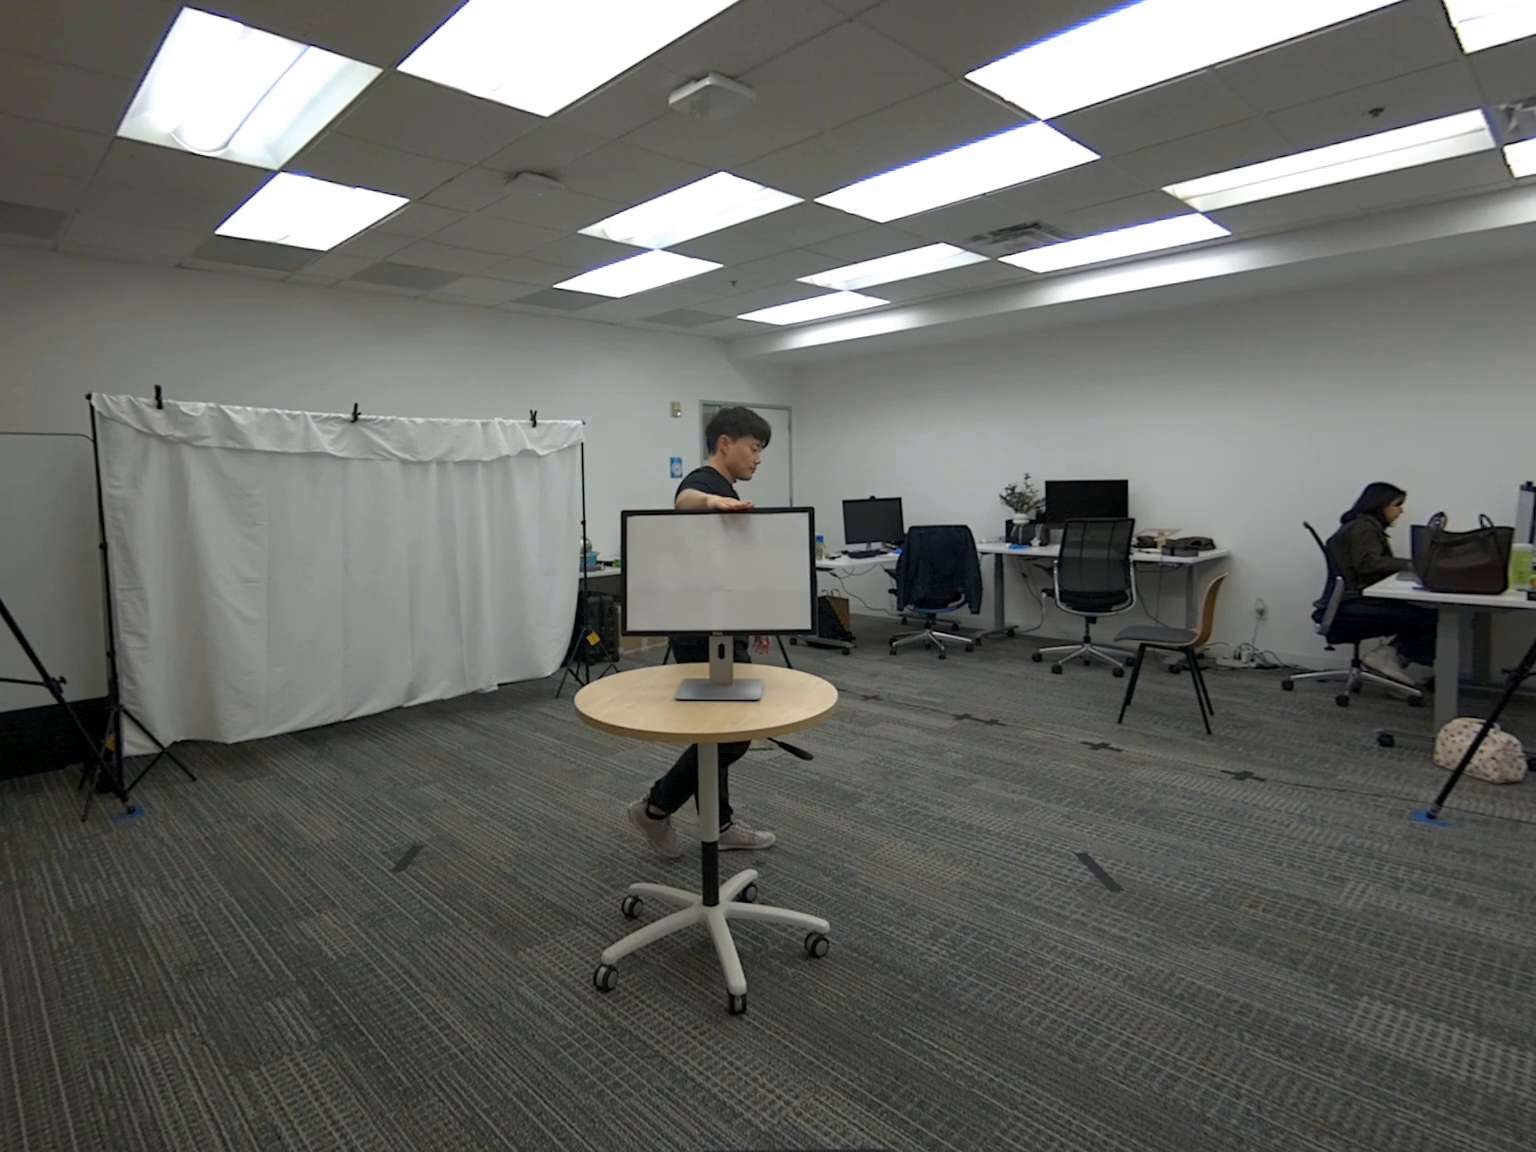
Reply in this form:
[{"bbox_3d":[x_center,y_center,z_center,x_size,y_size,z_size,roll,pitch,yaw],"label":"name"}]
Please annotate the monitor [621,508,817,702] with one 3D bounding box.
[{"bbox_3d":[-0.144,0.079,2.493,0.541,0.519,0.187,-2,6,4],"label":"monitor"}]
